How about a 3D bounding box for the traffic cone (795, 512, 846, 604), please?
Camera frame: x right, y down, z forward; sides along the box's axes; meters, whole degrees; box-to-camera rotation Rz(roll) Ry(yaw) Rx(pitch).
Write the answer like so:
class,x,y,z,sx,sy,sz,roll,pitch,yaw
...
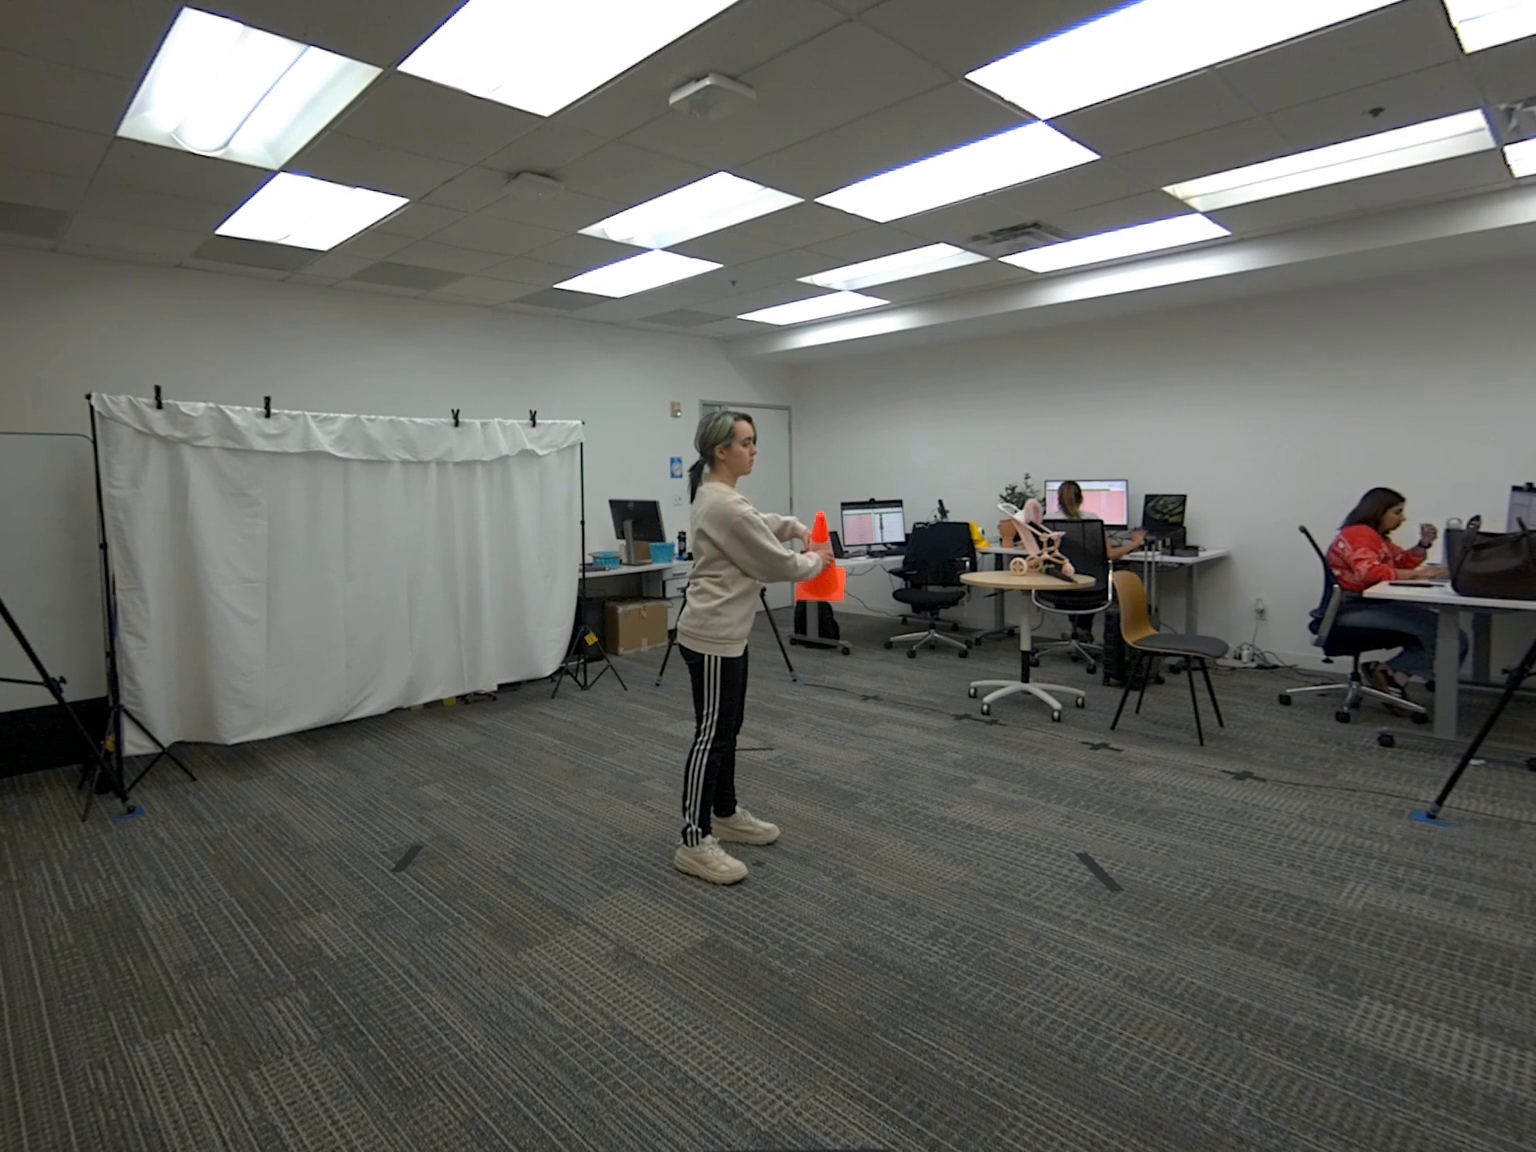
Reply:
class,x,y,z,sx,sy,sz,roll,pitch,yaw
traffic cone,0.210,-0.097,3.421,0.206,0.372,0.209,5,43,10
